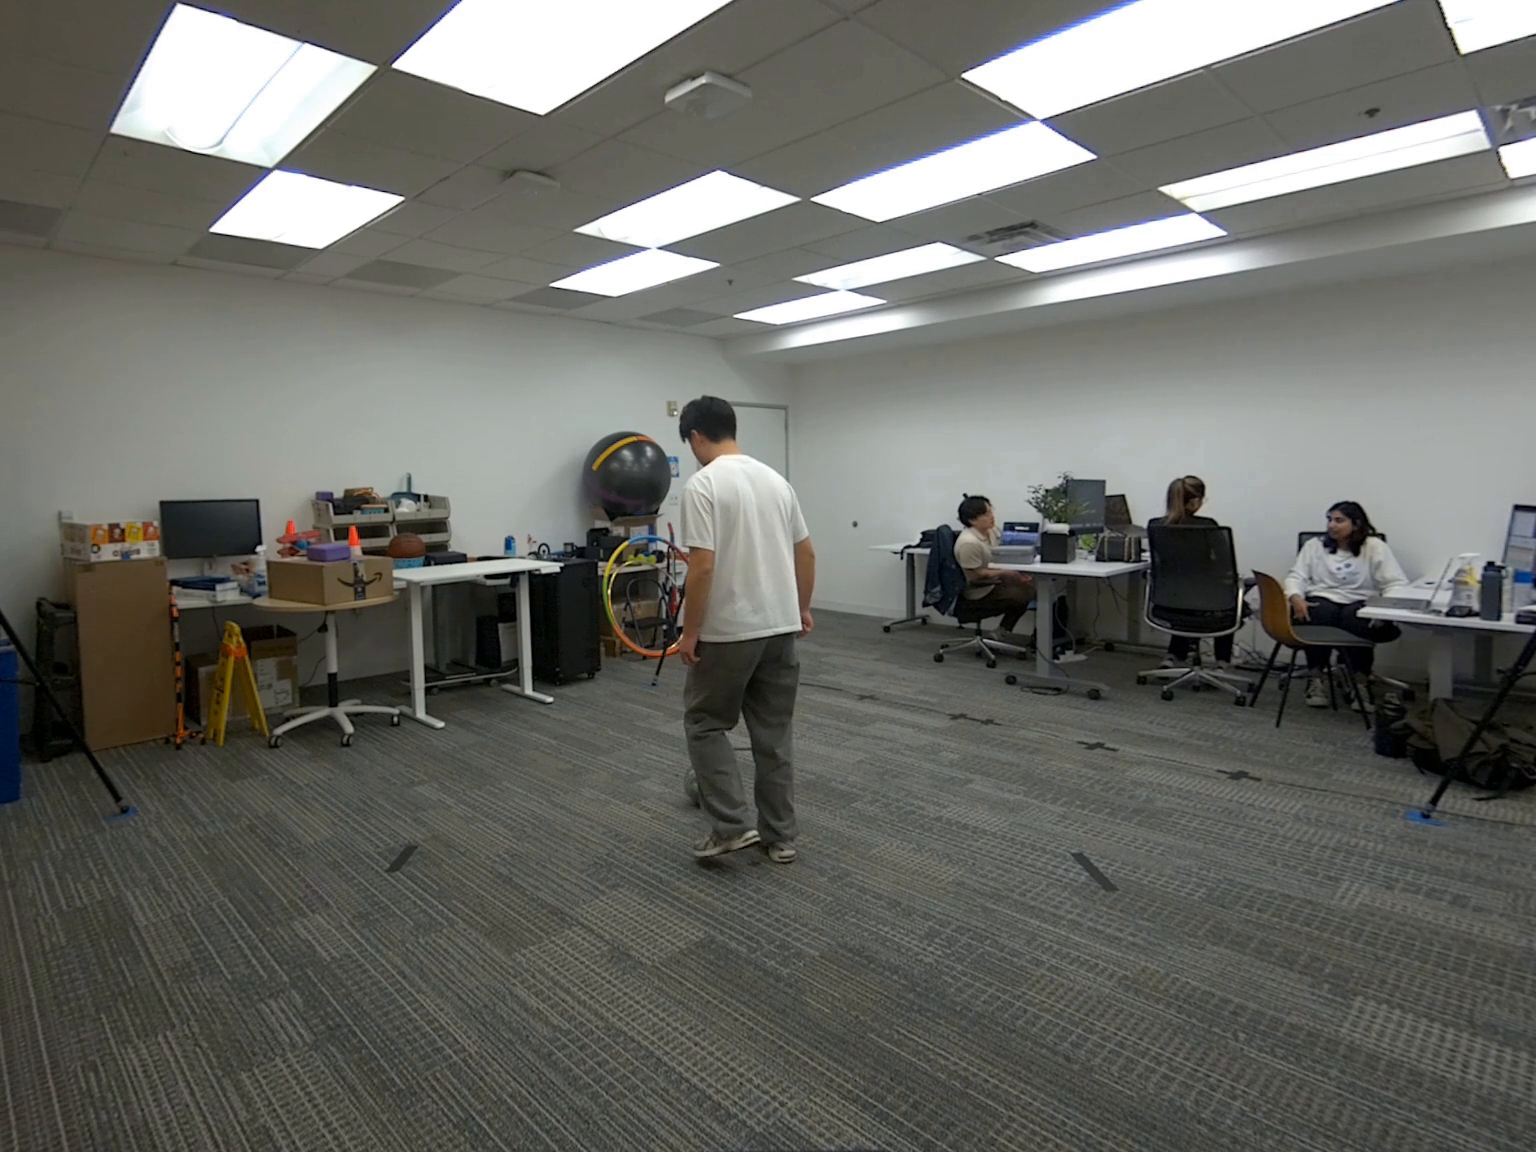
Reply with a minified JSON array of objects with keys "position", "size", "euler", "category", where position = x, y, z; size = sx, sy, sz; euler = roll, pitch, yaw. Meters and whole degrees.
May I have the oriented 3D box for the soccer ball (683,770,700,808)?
[{"position":[-0.263,0.893,3.689],"size":[0.187,0.187,0.188],"euler":[-1,5,-2],"category":"soccer ball"}]
